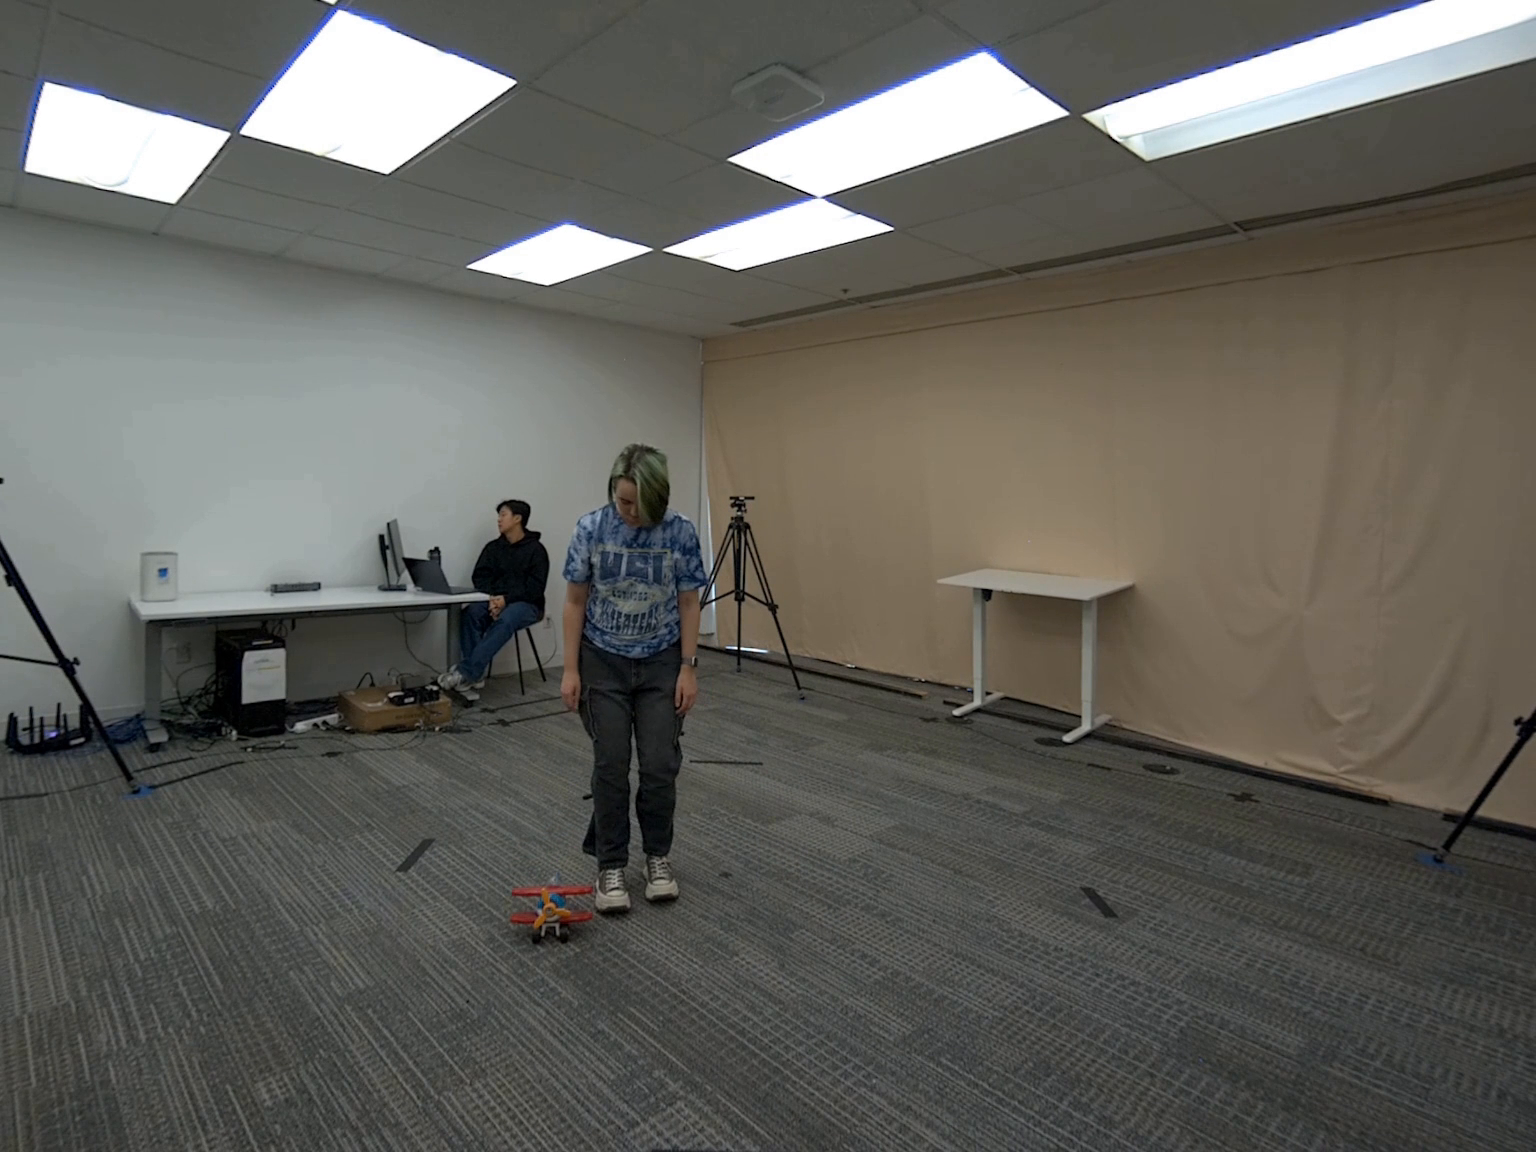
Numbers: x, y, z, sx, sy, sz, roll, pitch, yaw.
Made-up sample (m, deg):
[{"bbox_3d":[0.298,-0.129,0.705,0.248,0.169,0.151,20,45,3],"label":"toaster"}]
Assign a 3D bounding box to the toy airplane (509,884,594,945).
[{"bbox_3d":[-0.719,1.063,2.693,0.246,0.156,0.265,-2,6,-32],"label":"toy airplane"}]
